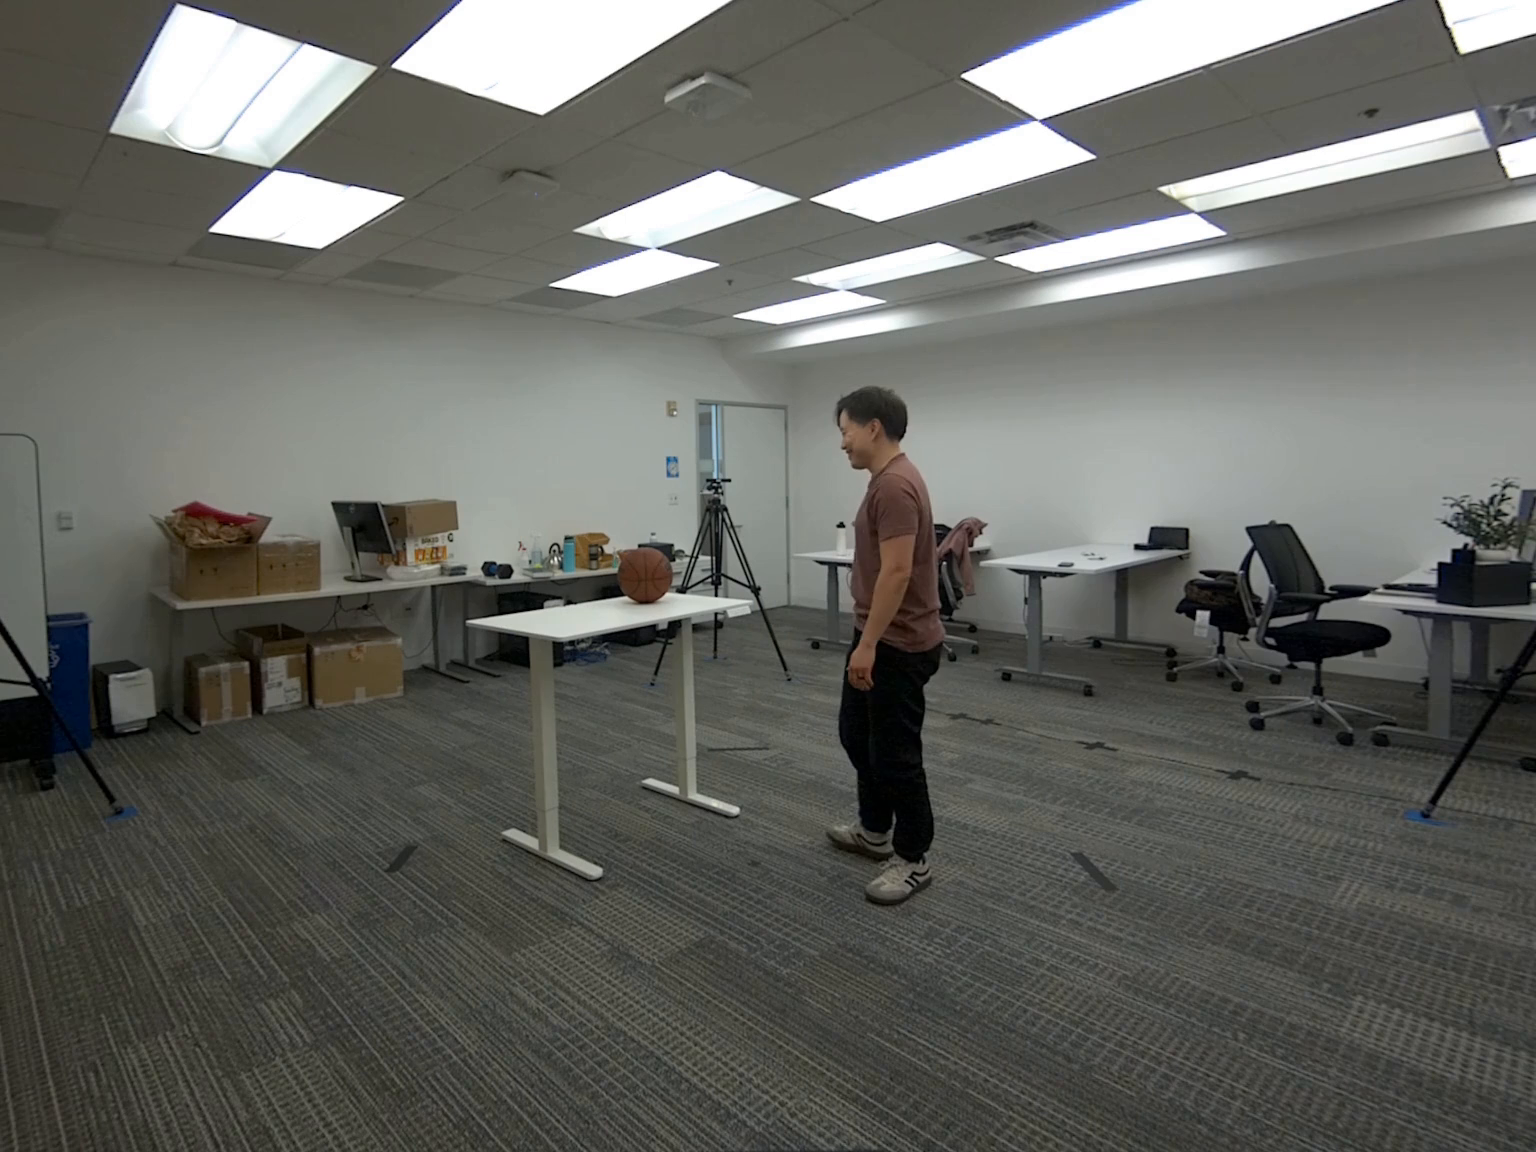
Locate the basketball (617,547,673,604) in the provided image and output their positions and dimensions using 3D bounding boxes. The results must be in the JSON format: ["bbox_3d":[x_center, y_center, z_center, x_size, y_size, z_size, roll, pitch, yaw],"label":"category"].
[{"bbox_3d":[-0.523,-0.003,3.632,0.236,0.235,0.237,-1,5,-2],"label":"basketball"}]
